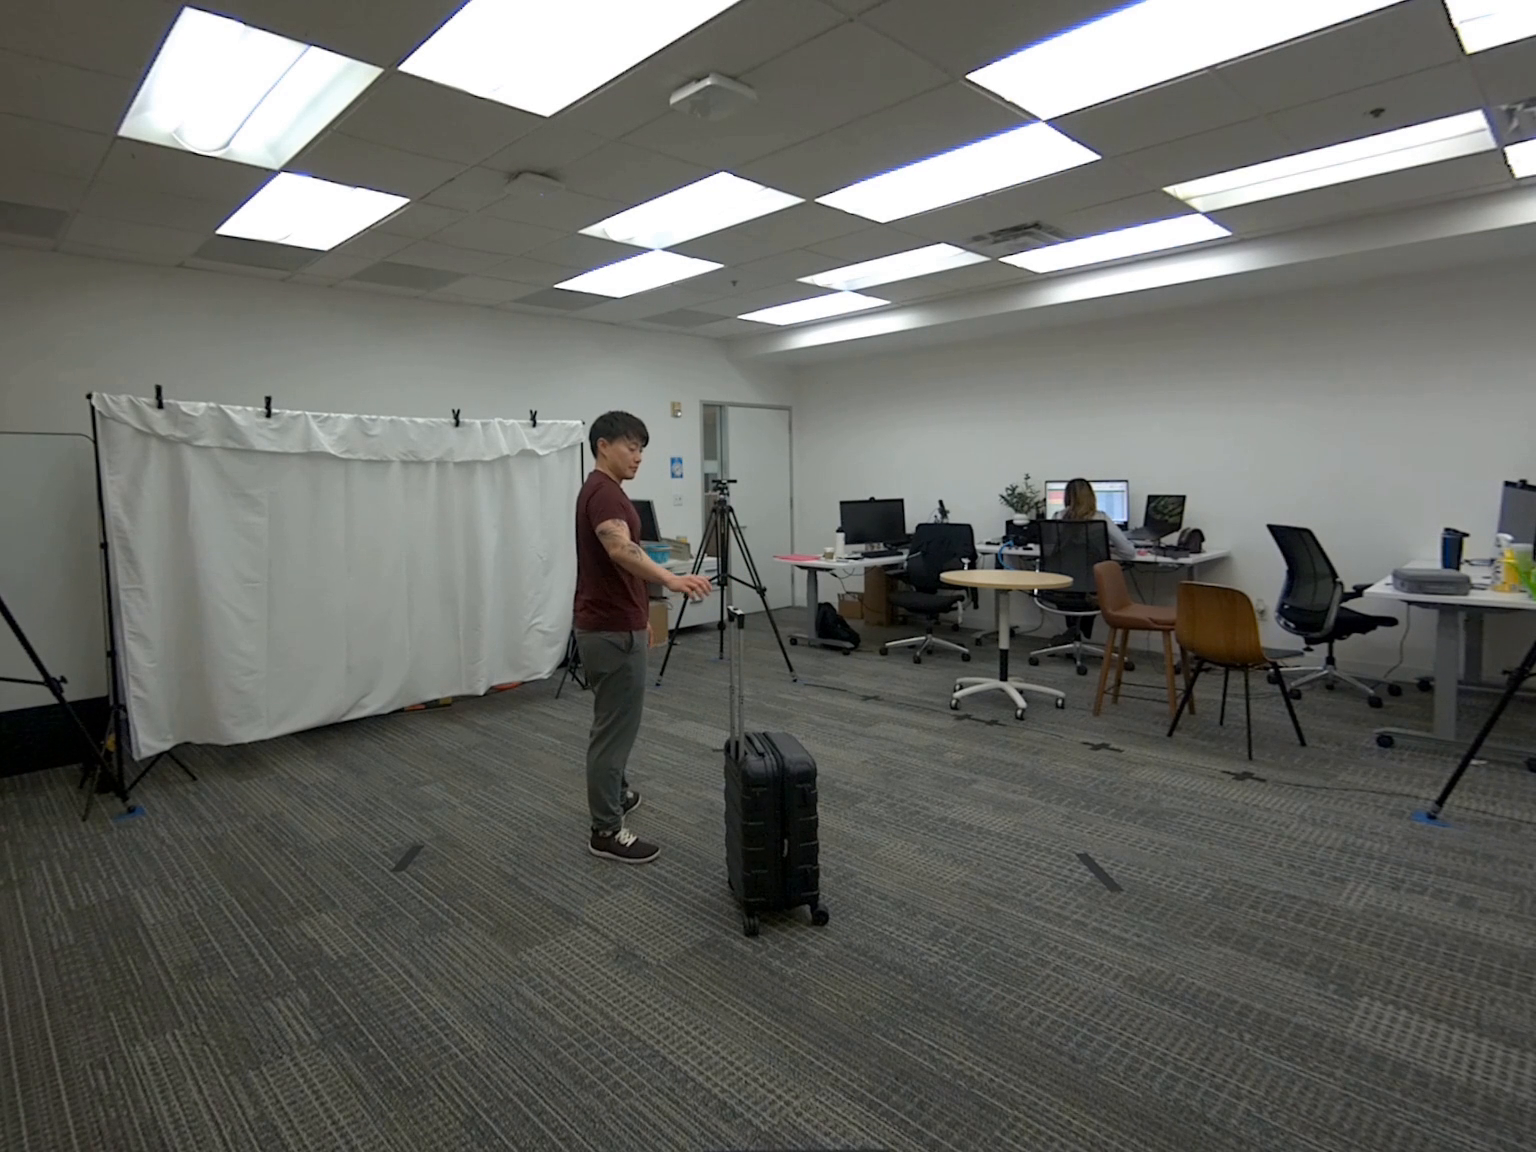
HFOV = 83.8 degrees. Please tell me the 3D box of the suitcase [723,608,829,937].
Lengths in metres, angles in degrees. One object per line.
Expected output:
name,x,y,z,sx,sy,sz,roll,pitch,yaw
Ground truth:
suitcase,0.008,0.604,2.782,0.254,0.975,0.389,1,4,-12
